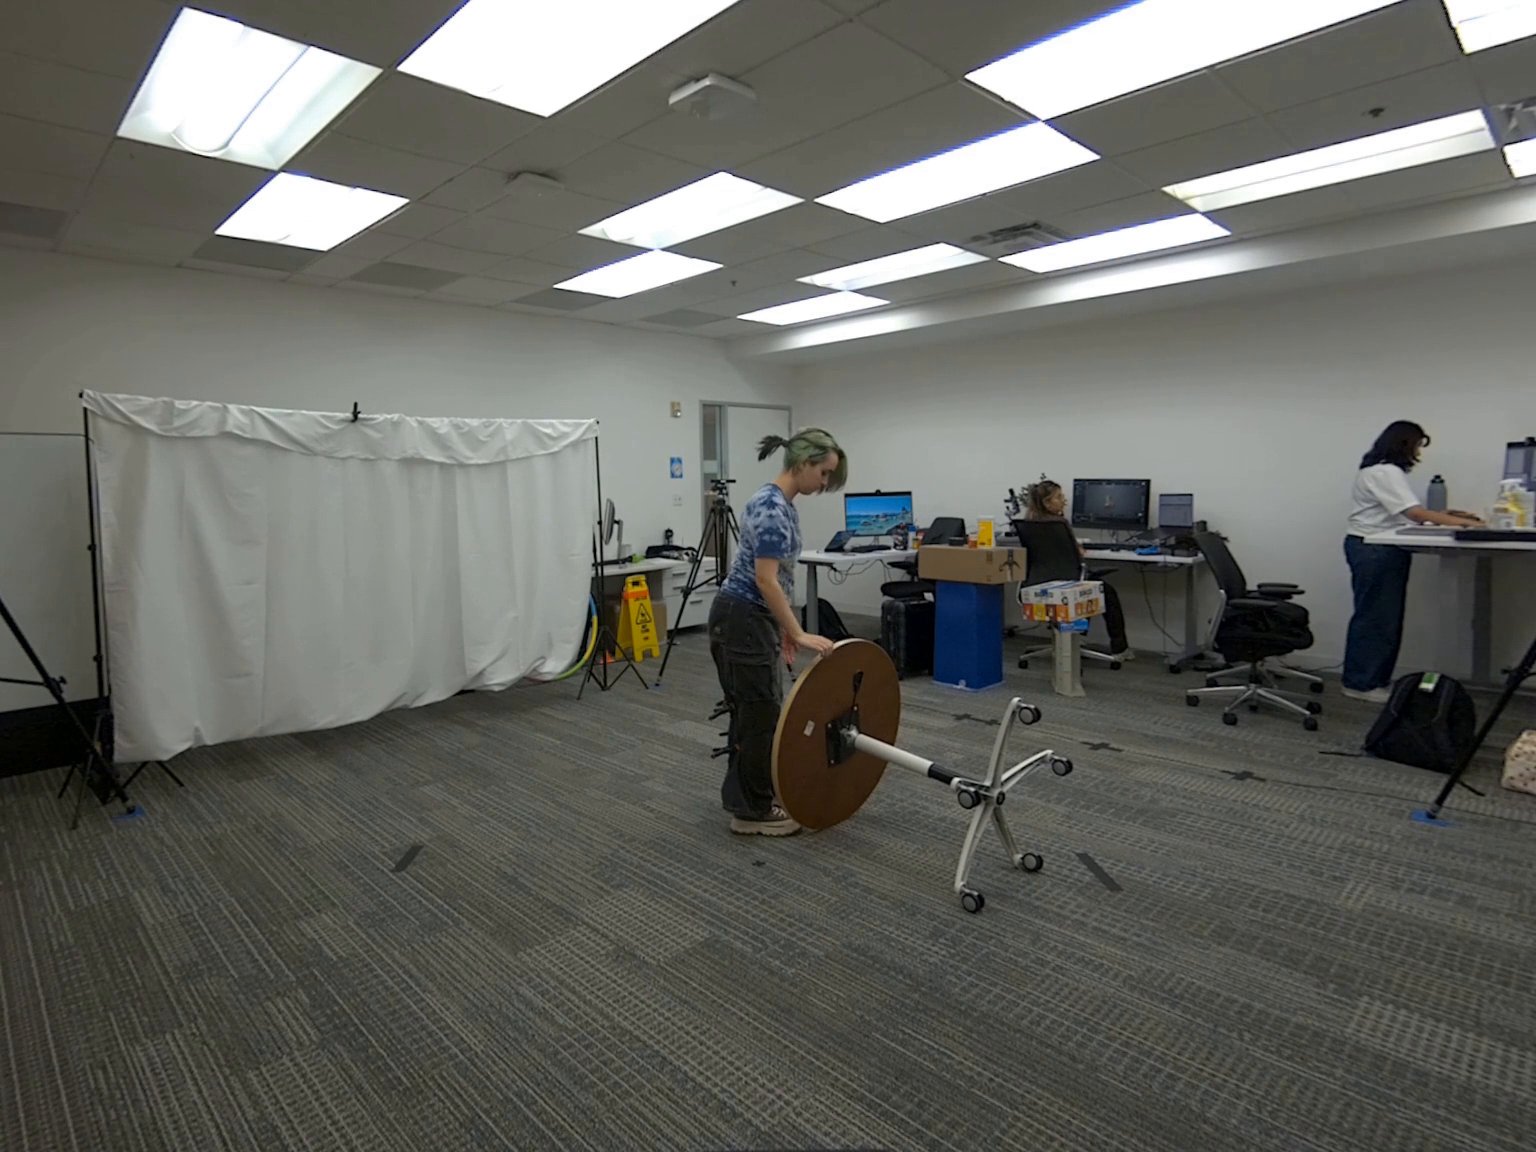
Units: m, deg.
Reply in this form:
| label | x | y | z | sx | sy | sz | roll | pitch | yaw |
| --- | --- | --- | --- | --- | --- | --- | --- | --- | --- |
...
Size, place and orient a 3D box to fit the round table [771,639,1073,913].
| label | x | y | z | sx | sy | sz | roll | pitch | yaw |
| --- | --- | --- | --- | --- | --- | --- | --- | --- | --- |
| round table | 0.566 | 0.697 | 3.117 | 0.744 | 0.758 | 0.821 | -5 | 13 | -44 |
